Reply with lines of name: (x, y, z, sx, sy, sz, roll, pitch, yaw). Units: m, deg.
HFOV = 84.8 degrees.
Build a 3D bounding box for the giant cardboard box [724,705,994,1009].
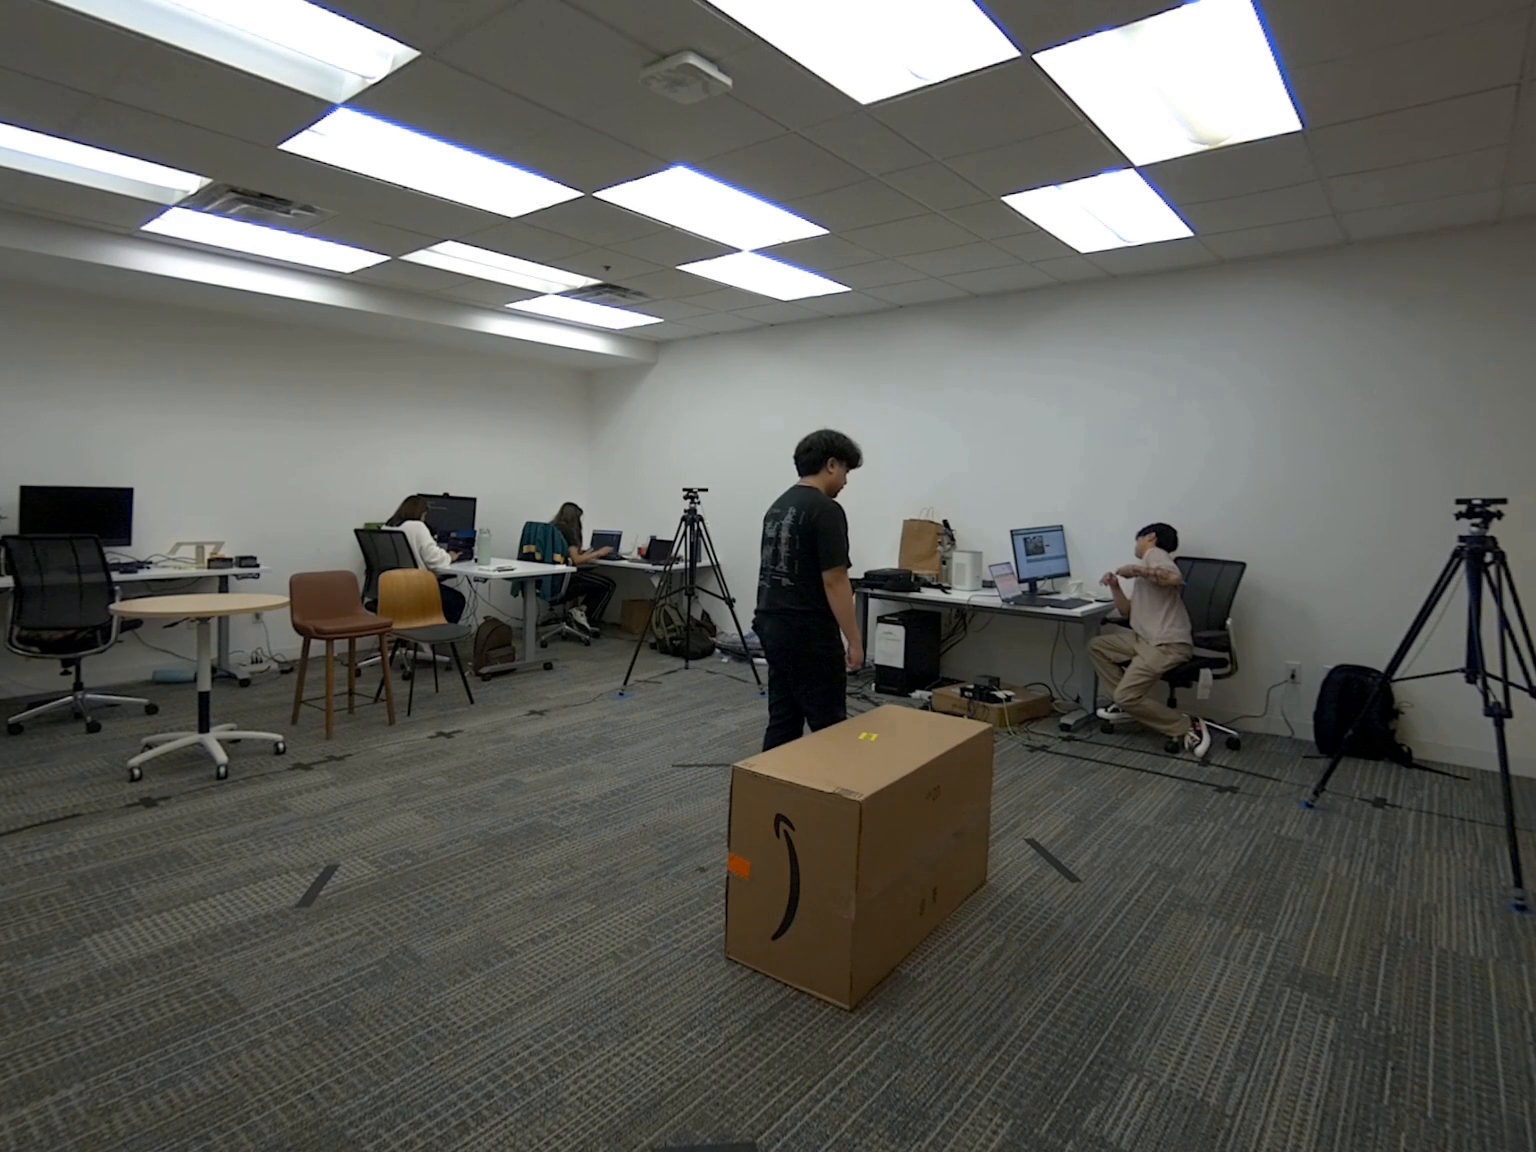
giant cardboard box: (0.332, 0.827, 2.784, 0.461, 0.582, 0.998, 3, 5, 35)
